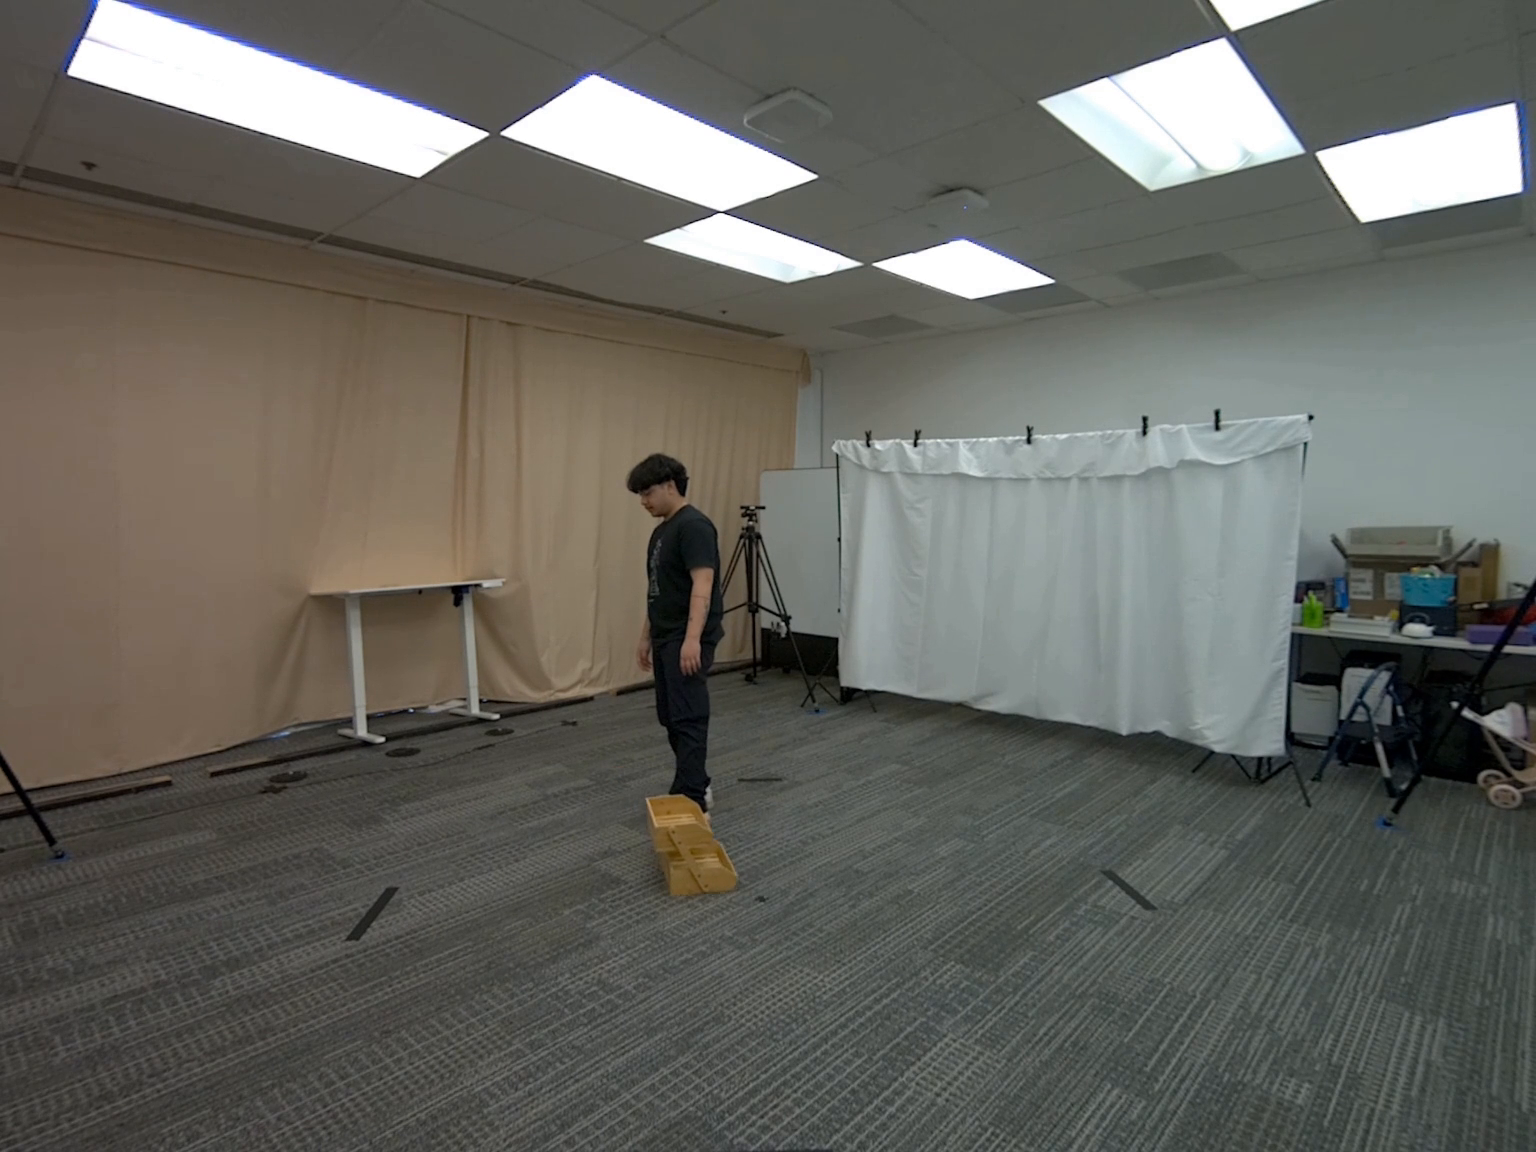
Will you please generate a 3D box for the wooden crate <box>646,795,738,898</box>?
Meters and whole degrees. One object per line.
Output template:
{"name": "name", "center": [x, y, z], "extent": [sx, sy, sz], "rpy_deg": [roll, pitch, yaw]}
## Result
{"name": "wooden crate", "center": [-0.288, 0.993, 3.173], "extent": [0.298, 0.273, 0.329], "rpy_deg": [-1, 4, -14]}
